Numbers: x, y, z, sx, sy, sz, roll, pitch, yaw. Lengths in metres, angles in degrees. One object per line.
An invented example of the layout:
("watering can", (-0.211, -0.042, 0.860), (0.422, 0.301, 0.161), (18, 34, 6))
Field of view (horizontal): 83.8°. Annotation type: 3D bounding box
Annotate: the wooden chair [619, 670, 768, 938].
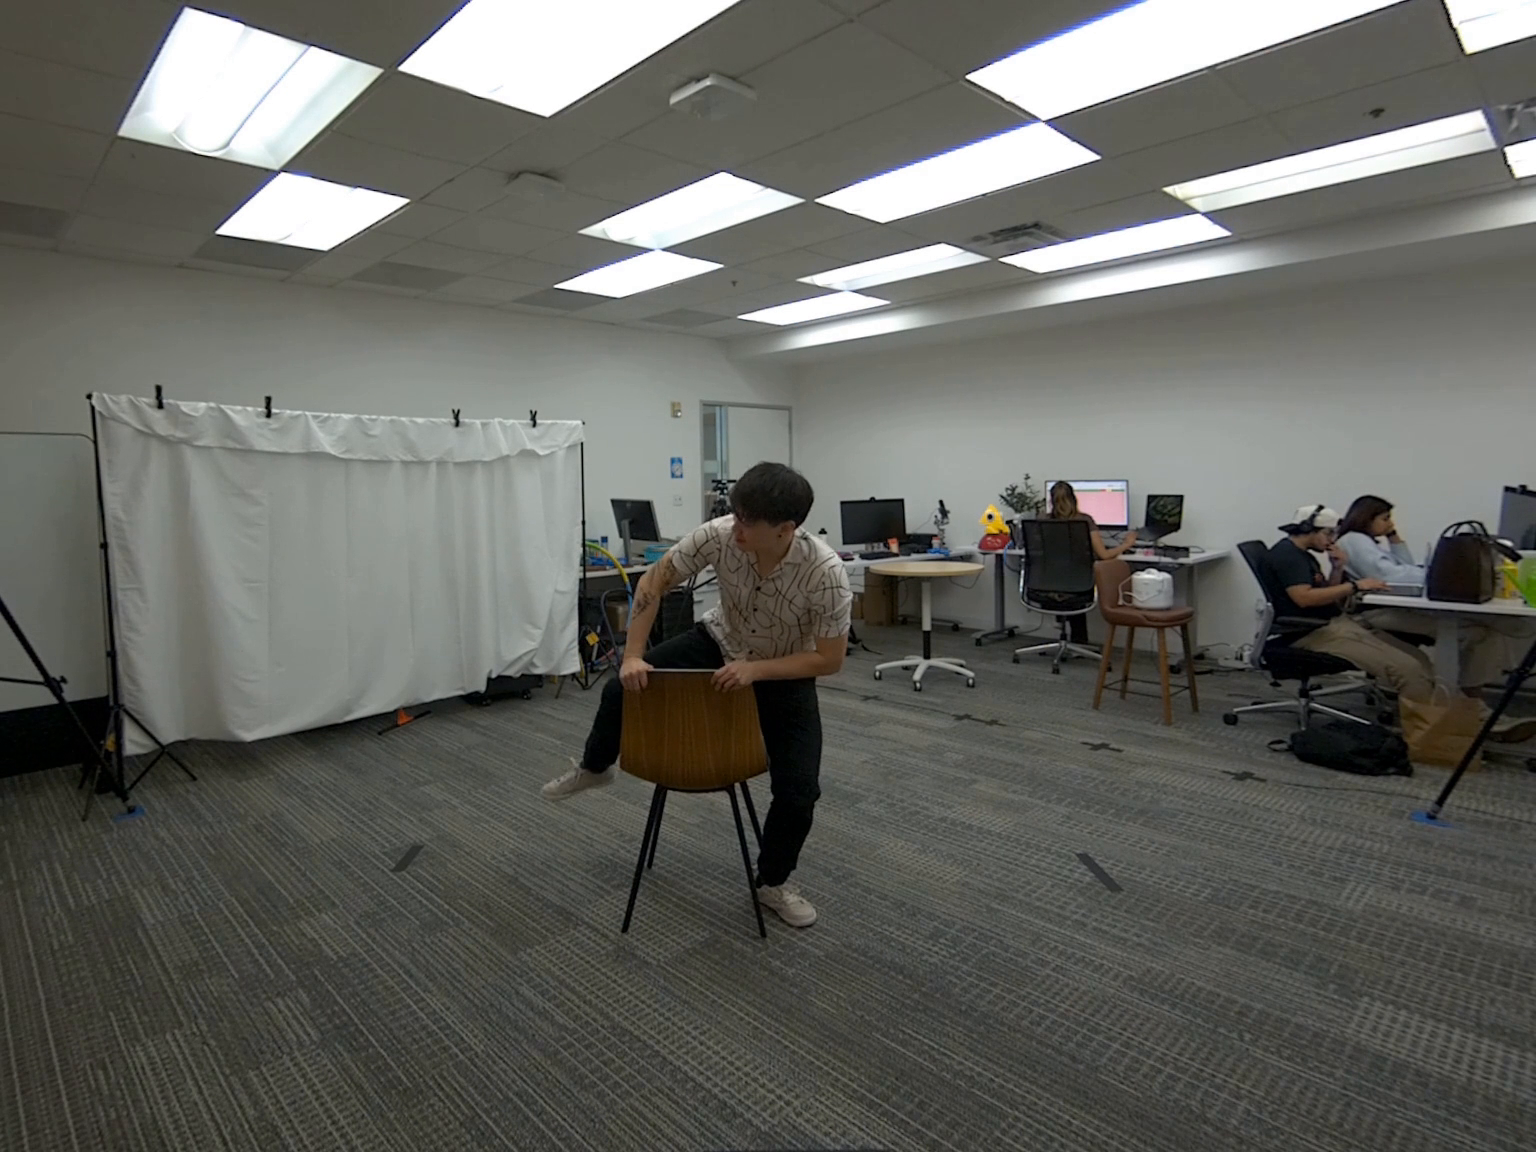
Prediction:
("wooden chair", (-0.231, 0.659, 2.822), (0.480, 0.869, 0.526), (-1, 10, 3))
